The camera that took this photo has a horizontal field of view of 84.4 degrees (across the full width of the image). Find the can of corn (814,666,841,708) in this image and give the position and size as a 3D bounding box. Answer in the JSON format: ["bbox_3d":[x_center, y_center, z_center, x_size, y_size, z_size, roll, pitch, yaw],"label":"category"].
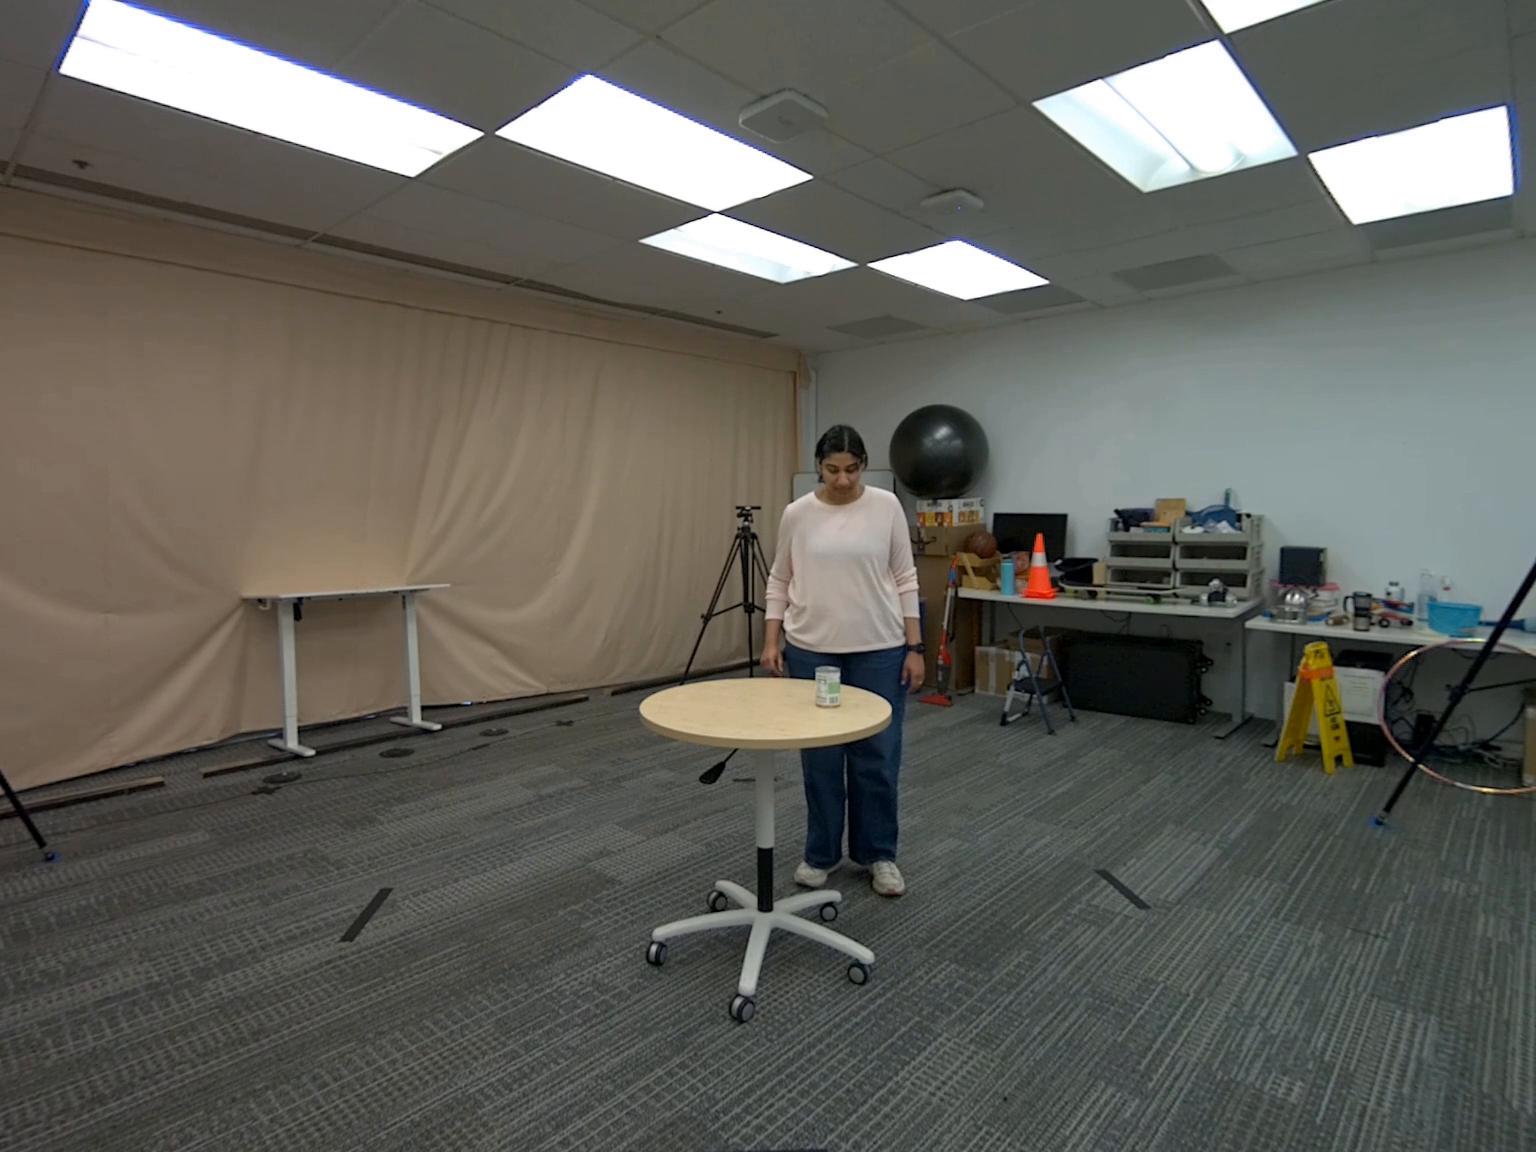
[{"bbox_3d":[0.177,0.340,2.561,0.074,0.111,0.074,0,4,-2],"label":"can of corn"}]
